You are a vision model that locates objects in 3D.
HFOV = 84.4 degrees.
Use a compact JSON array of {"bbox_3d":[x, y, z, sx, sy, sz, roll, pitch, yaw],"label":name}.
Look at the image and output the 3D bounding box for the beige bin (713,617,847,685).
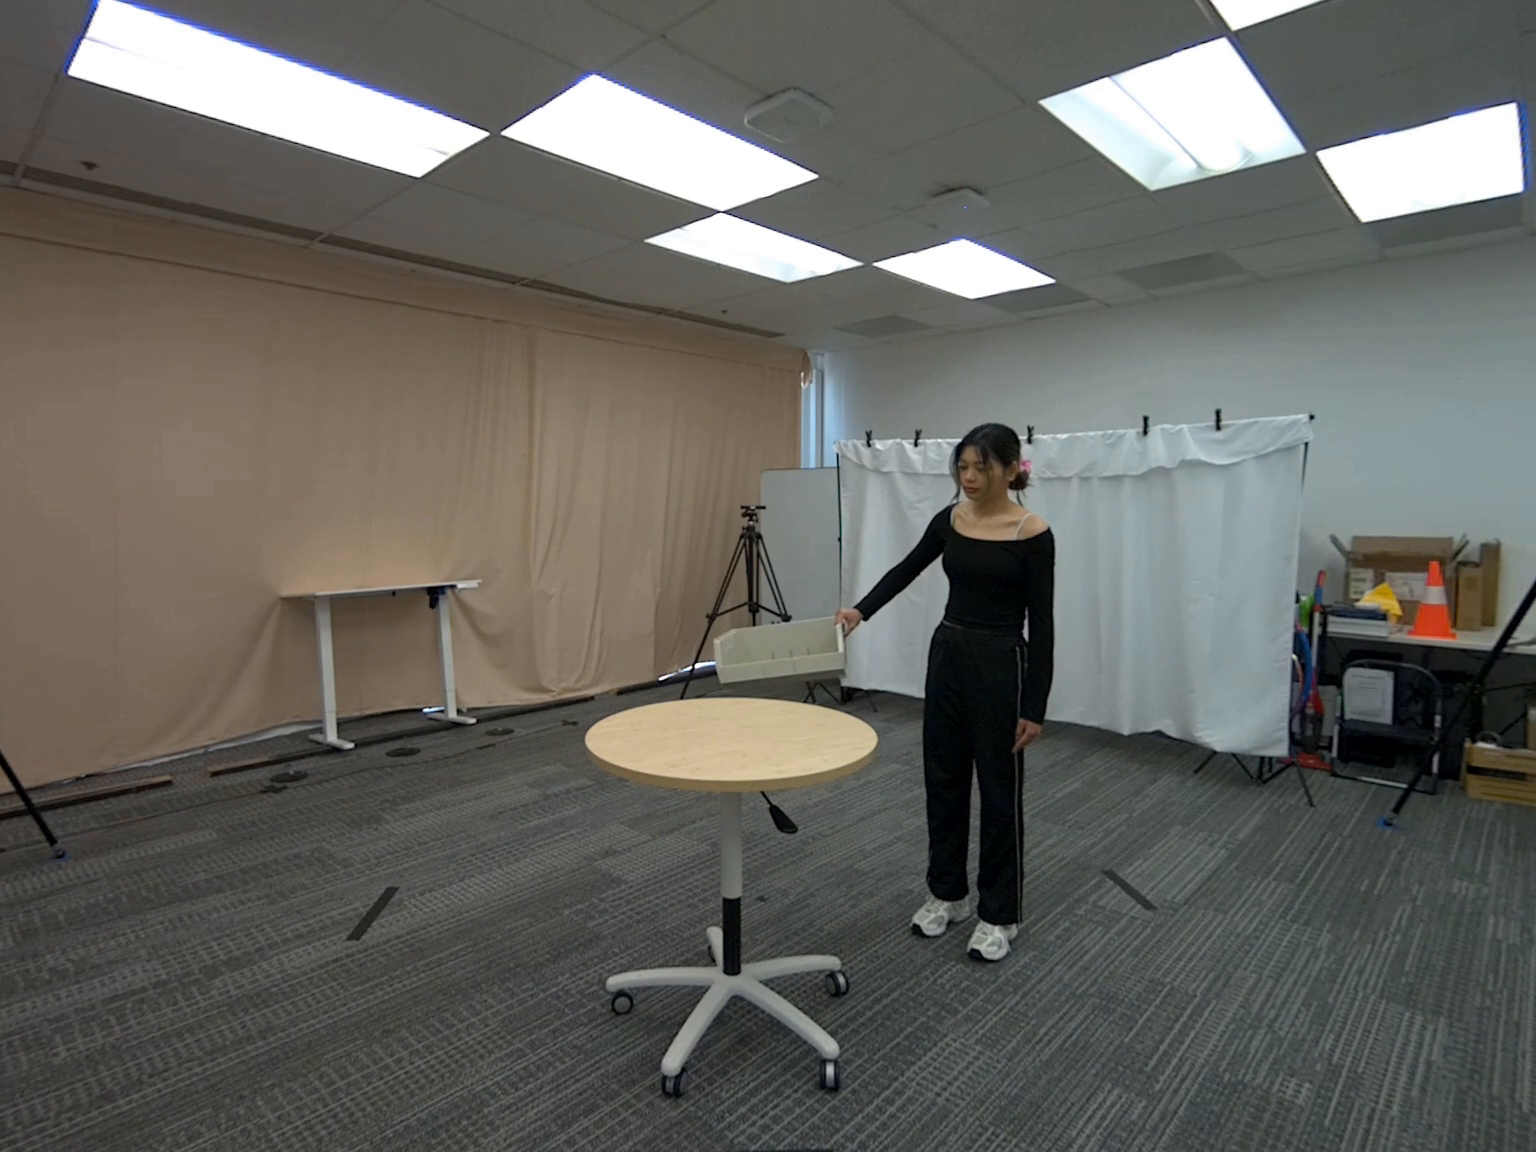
[{"bbox_3d":[0.062,0.259,2.885,0.427,0.189,0.373,-7,-1,10],"label":"beige bin"}]
